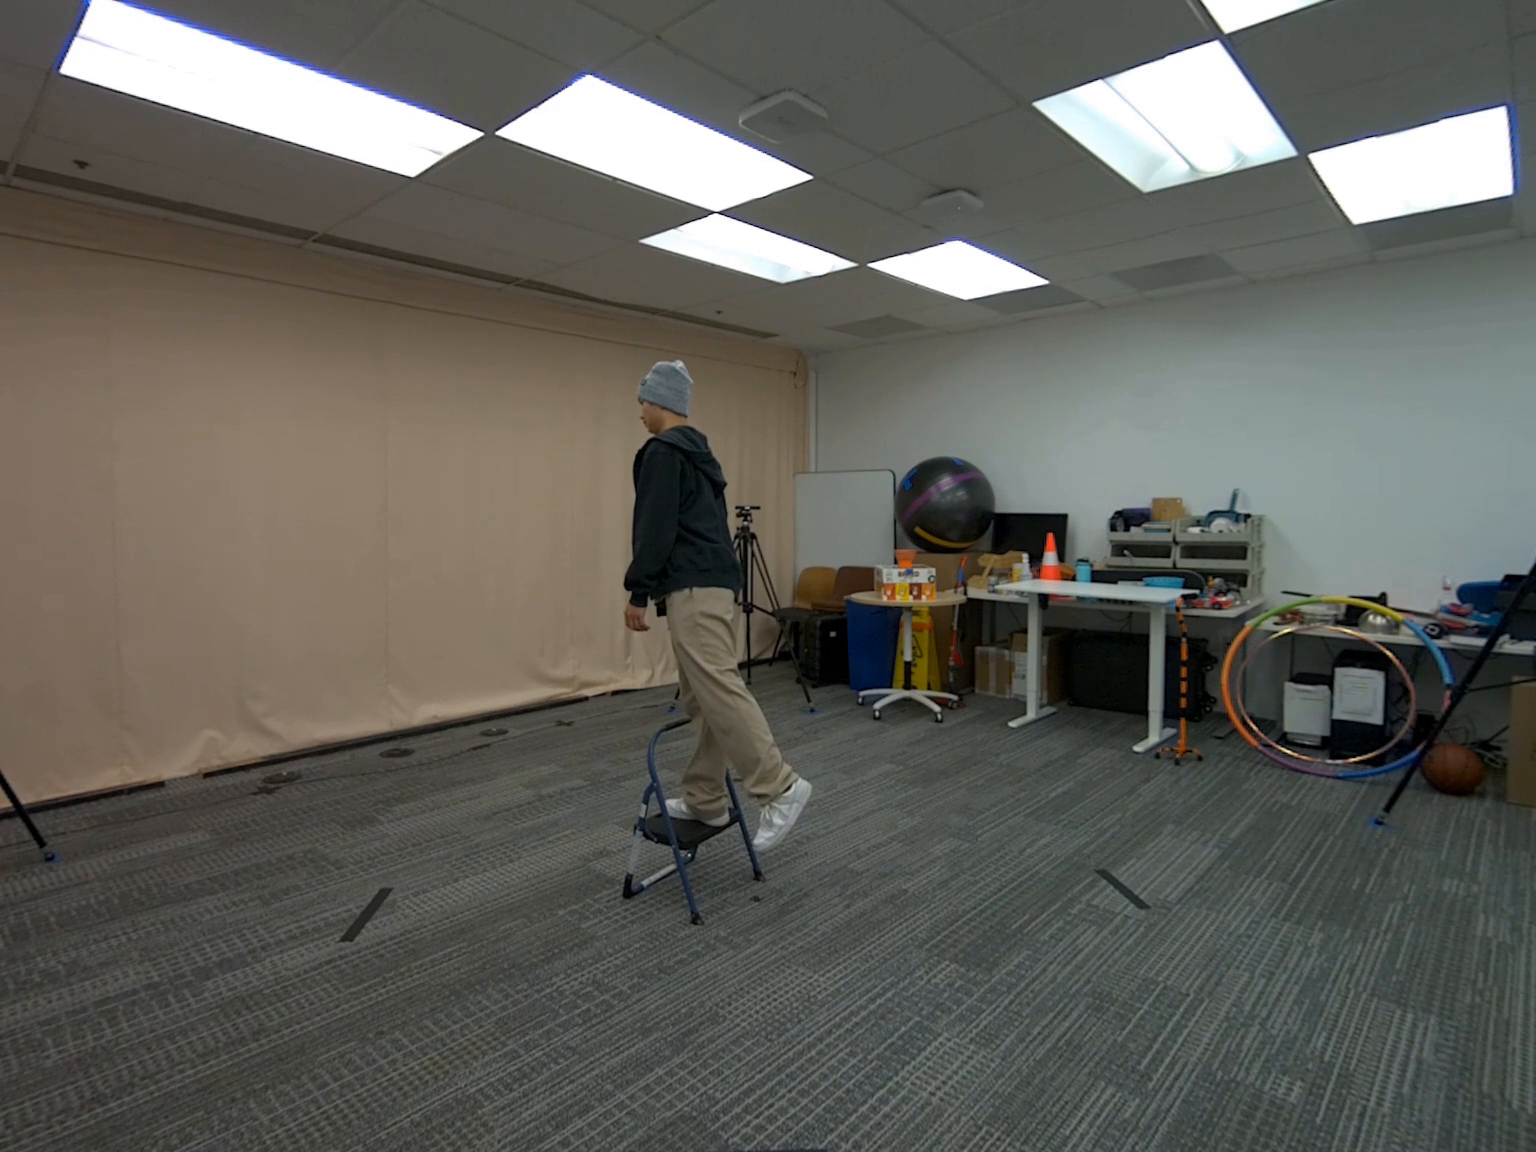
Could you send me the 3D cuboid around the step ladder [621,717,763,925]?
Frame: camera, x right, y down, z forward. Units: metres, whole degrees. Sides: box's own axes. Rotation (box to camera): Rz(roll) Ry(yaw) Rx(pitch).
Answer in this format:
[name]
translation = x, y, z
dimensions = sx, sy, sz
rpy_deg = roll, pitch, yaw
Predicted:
[step ladder]
translation = -0.268, 0.838, 3.052
dimensions = 0.360, 0.605, 0.419
rpy_deg = 1, 4, 32
